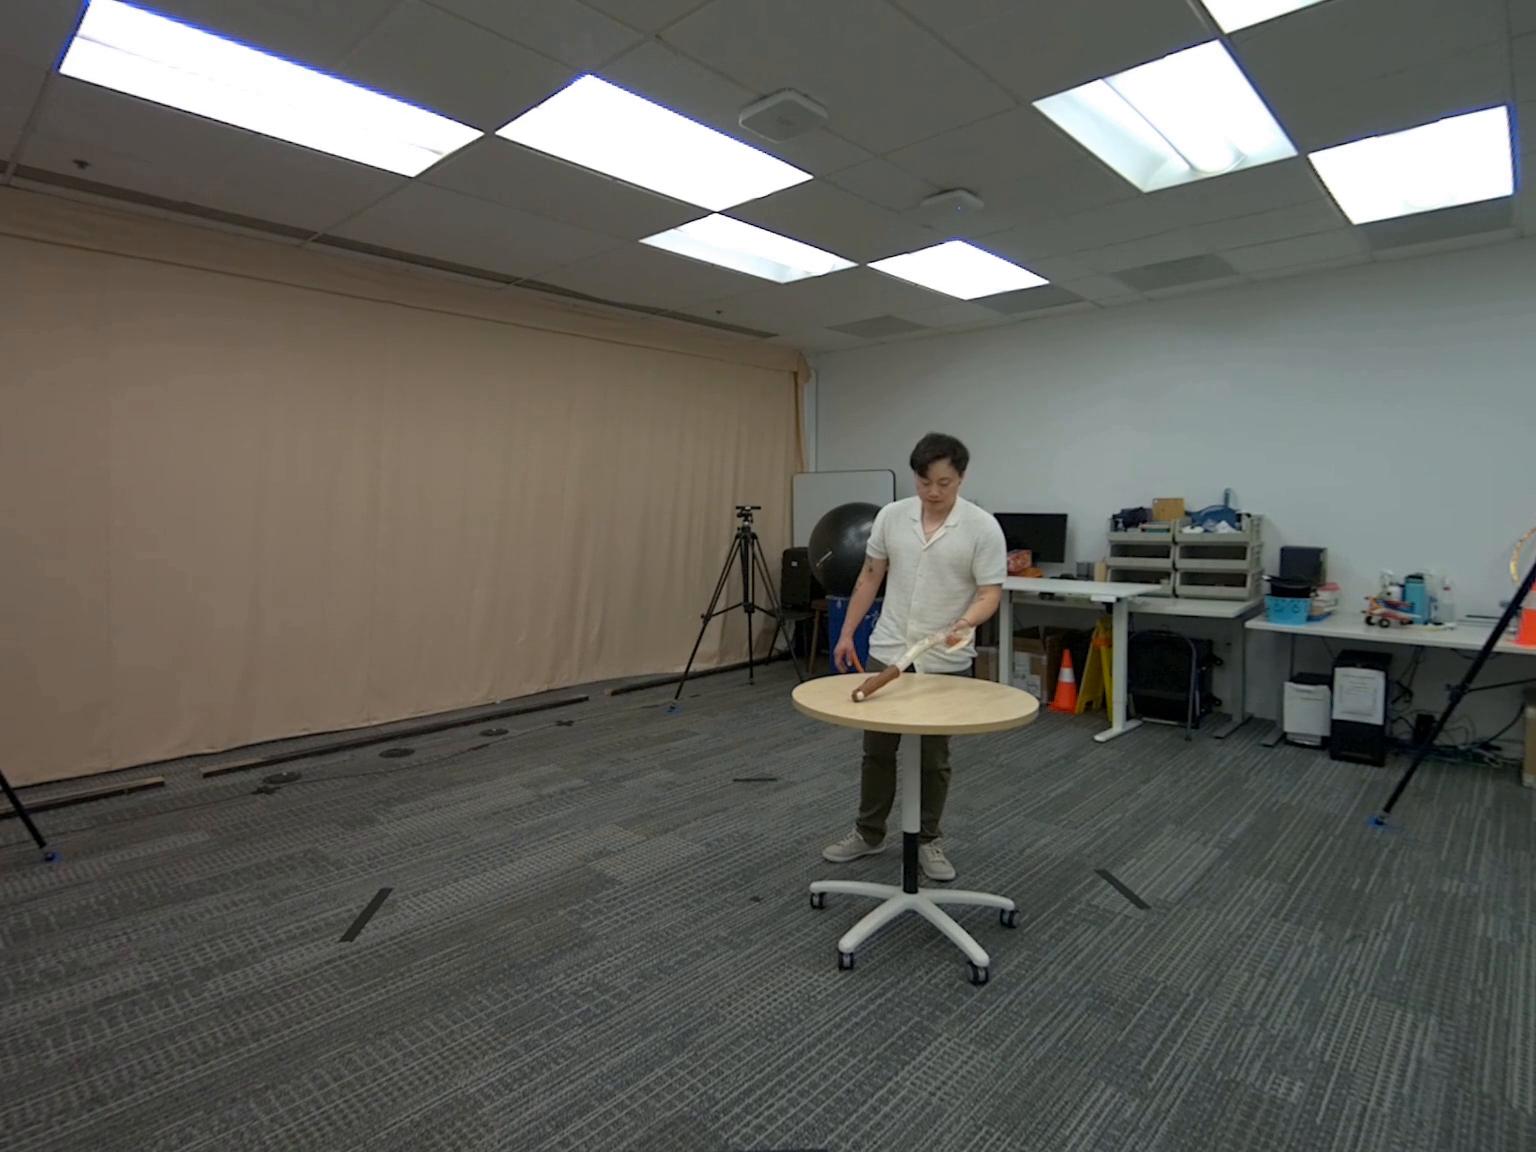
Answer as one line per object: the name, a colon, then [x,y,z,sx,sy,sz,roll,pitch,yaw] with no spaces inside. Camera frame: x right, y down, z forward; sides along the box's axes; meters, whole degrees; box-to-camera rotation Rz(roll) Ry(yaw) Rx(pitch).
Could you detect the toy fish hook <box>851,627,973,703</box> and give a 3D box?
toy fish hook: [0.482,0.278,2.701,0.497,0.048,0.229,-29,5,-34]
